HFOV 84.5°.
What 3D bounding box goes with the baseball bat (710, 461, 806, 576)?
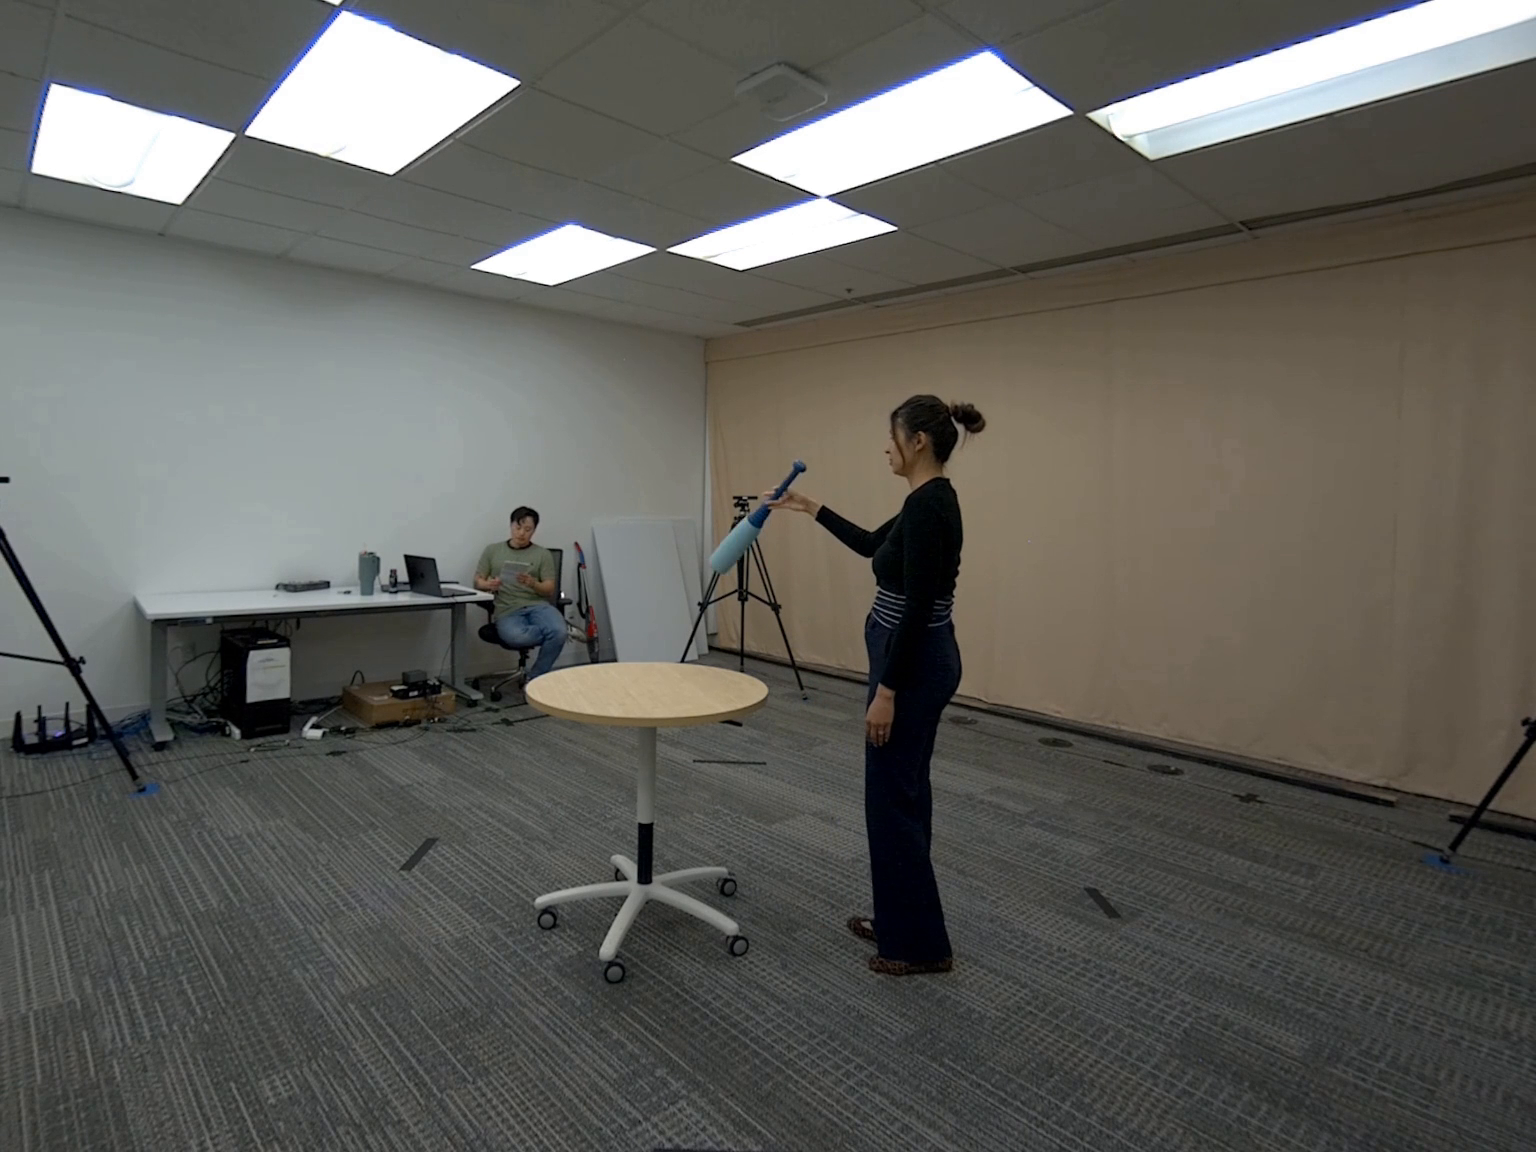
[{"bbox_3d":[-0.040,-0.213,3.023,0.087,0.542,0.091,28,32,-21],"label":"baseball bat"}]
